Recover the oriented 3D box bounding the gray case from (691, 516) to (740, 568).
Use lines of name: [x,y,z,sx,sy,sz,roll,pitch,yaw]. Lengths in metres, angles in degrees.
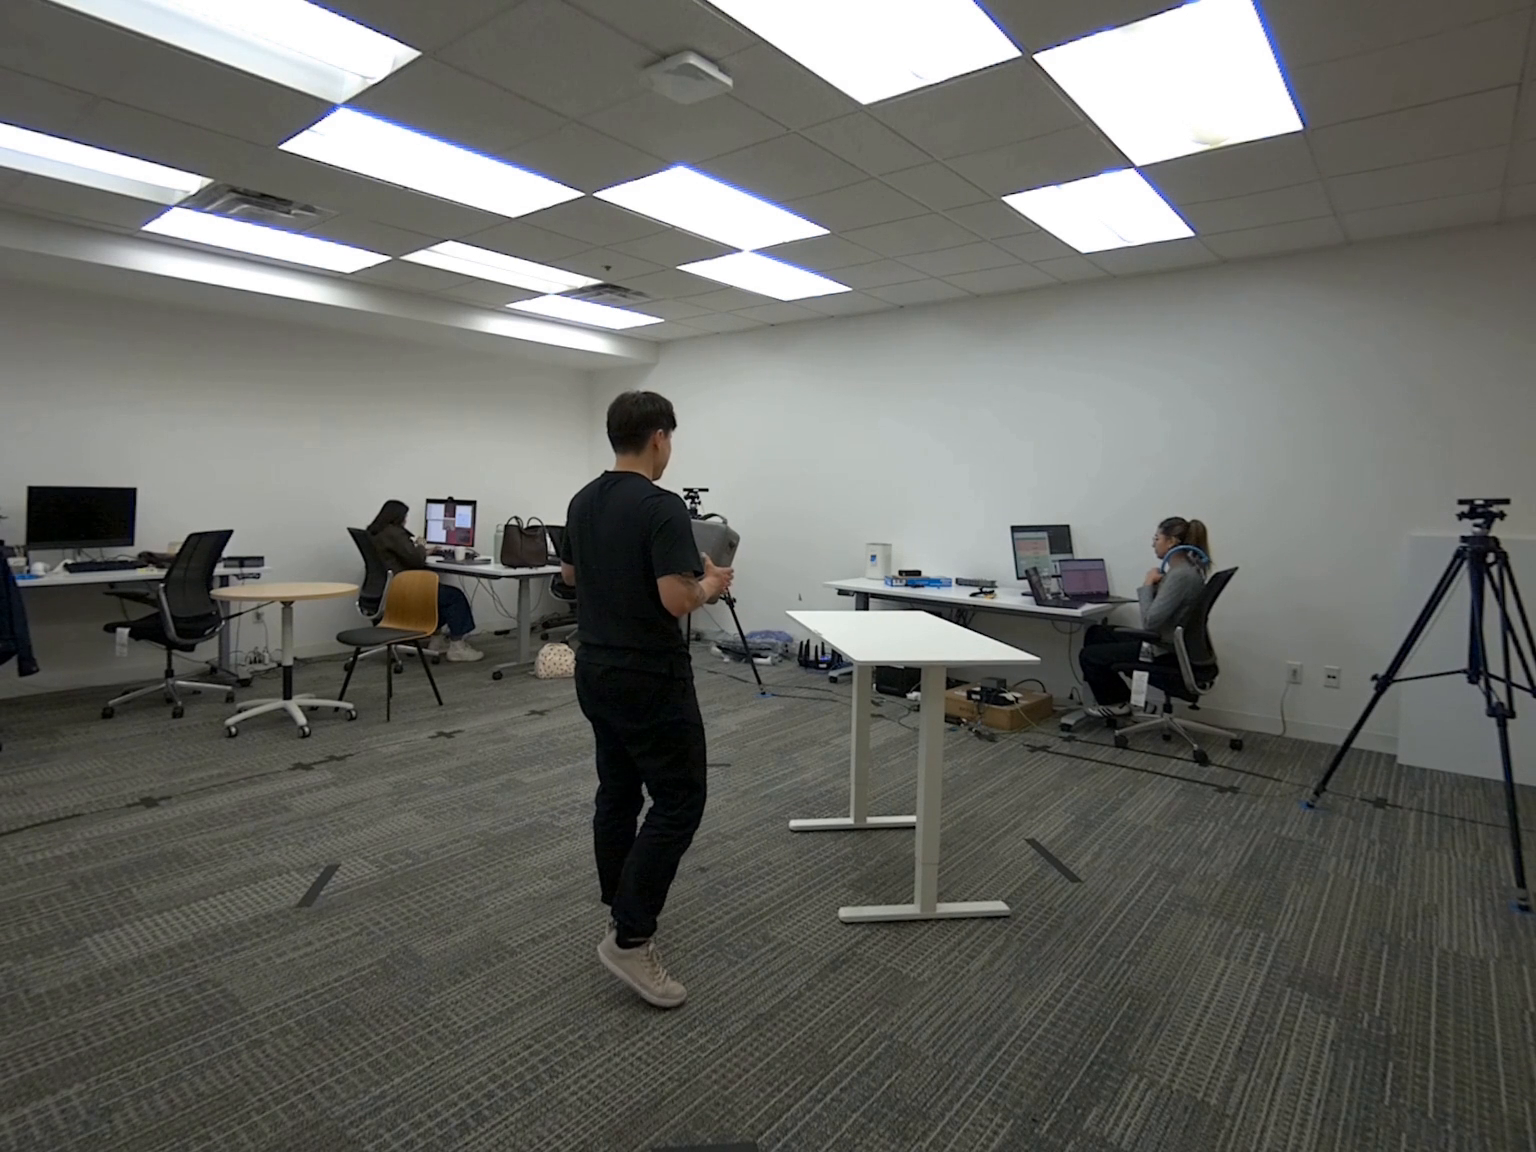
gray case: [-0.237,-0.053,2.713,0.266,0.262,0.100,11,-14,44]
